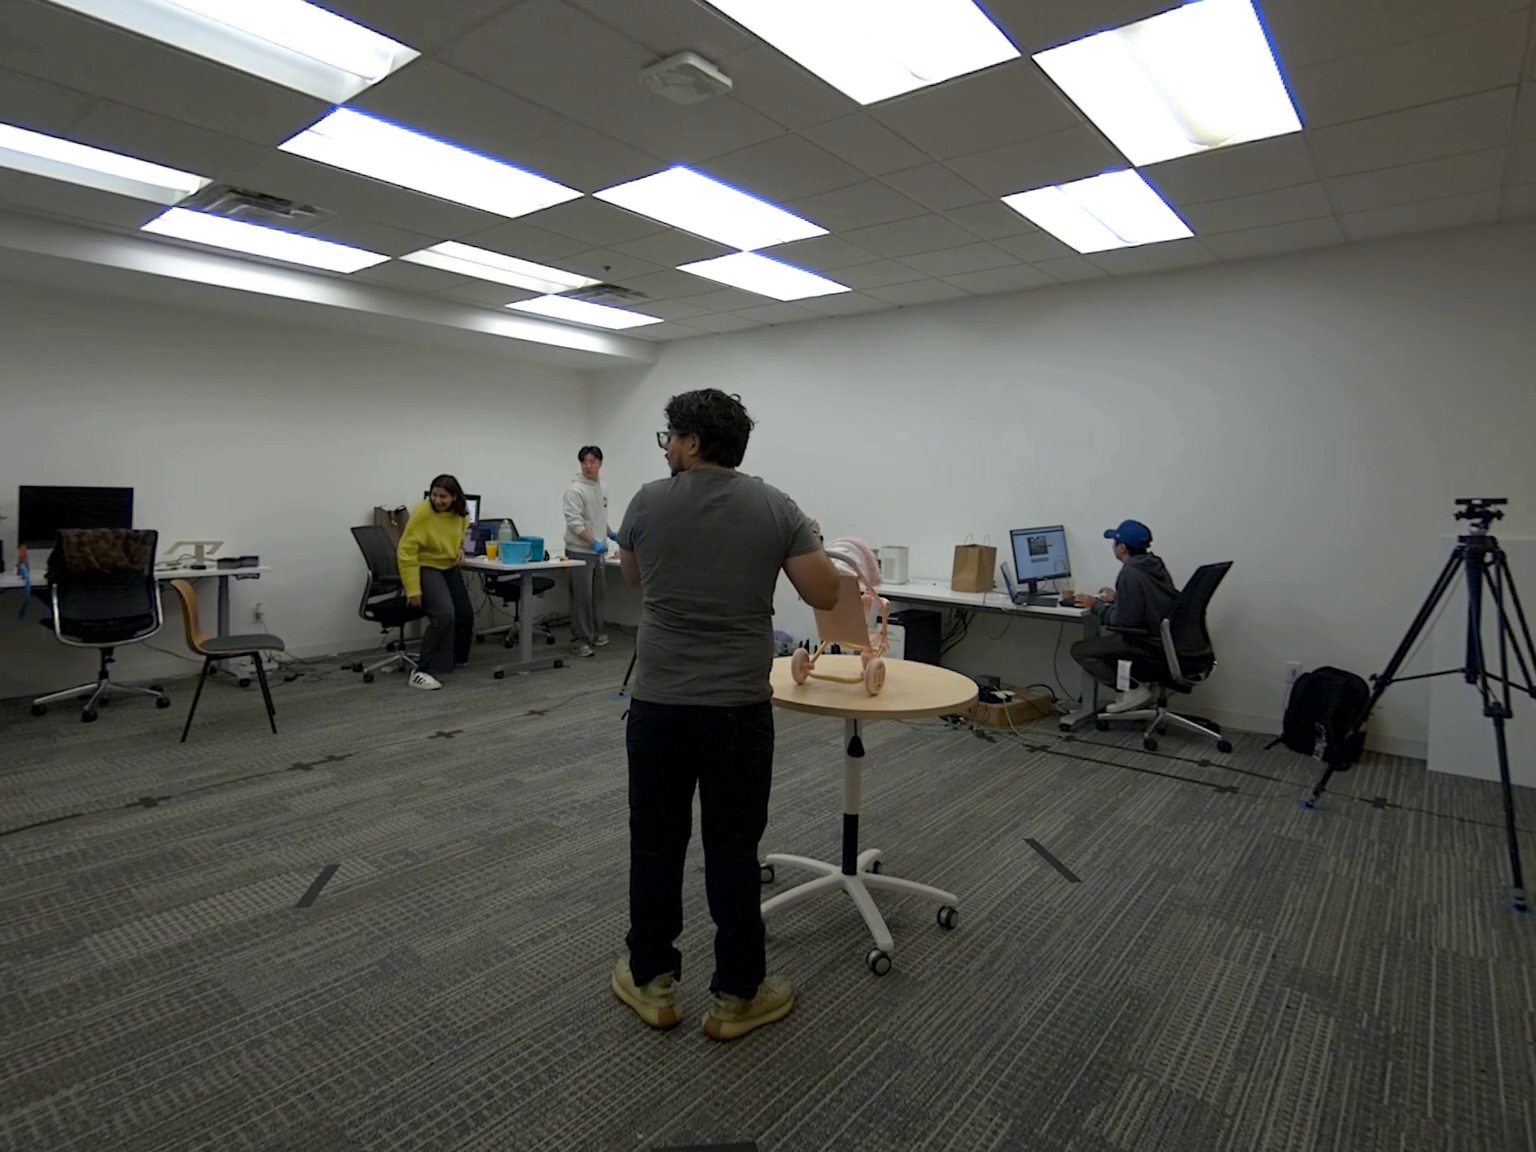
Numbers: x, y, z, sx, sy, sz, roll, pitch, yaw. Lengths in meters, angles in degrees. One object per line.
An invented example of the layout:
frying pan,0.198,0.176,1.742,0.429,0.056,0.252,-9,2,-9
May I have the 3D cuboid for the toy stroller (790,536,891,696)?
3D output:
toy stroller,0.243,0.117,2.663,0.290,0.526,0.336,5,20,34
